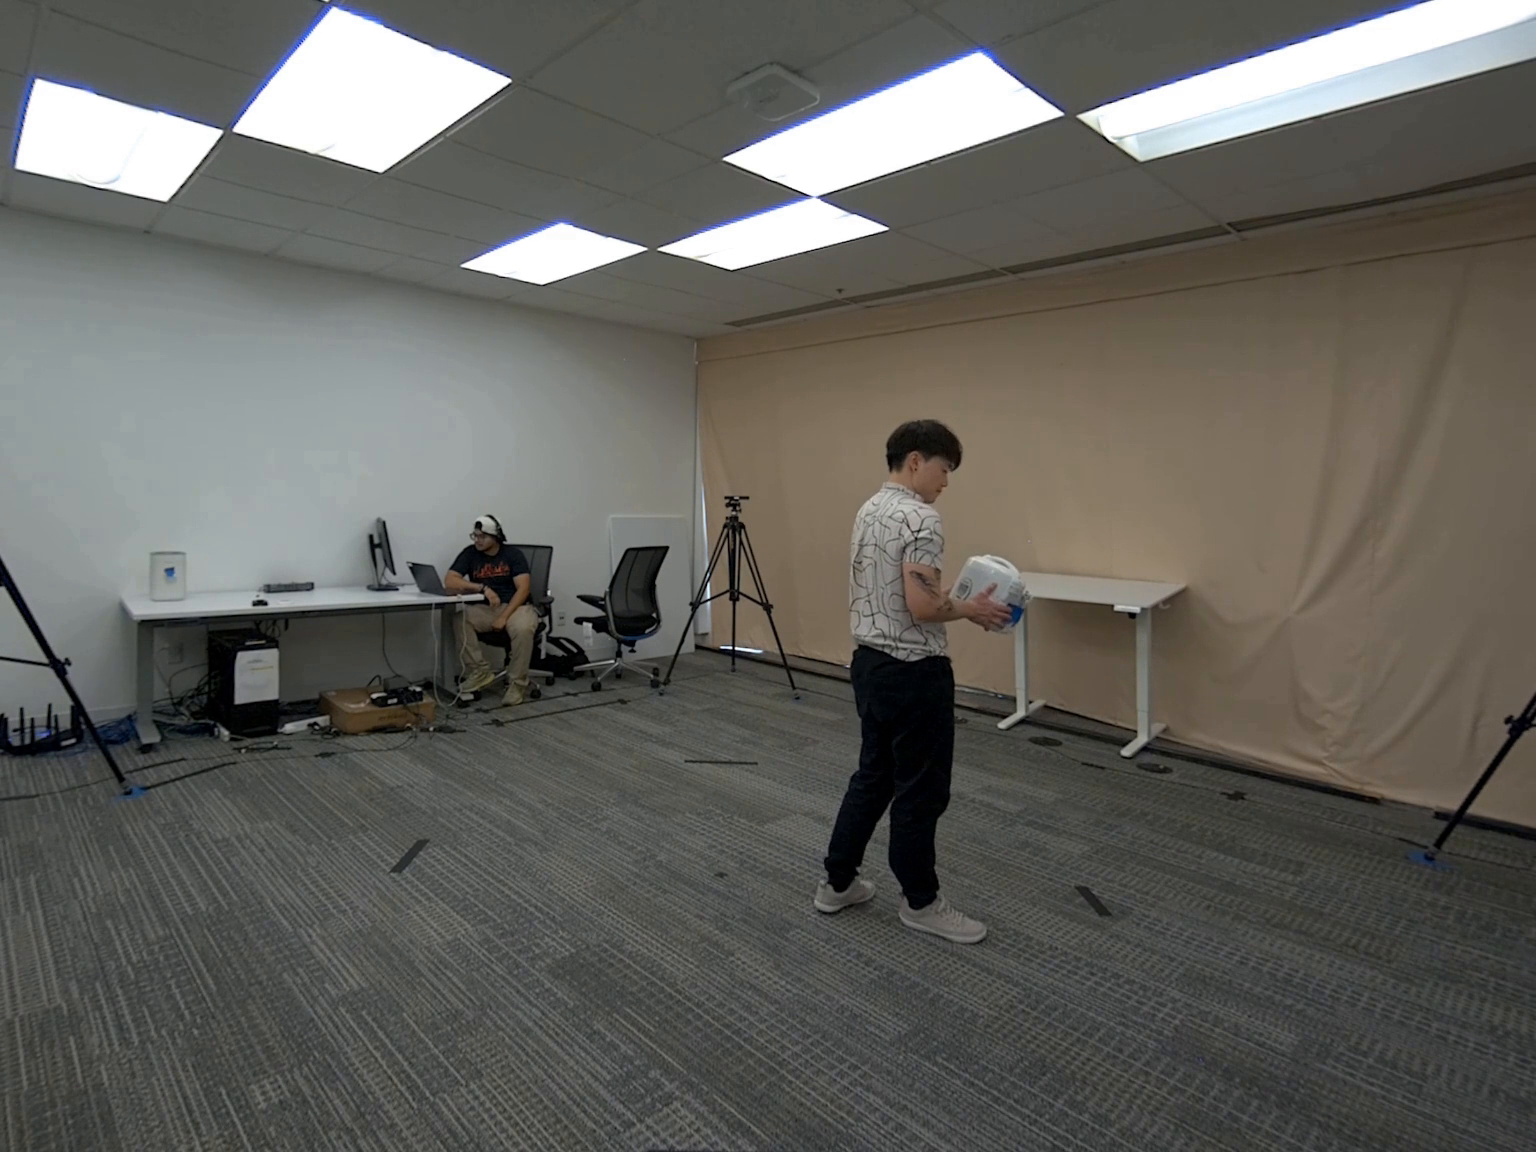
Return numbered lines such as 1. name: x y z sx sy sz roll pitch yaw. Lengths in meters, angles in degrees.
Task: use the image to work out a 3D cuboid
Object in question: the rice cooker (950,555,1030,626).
1. rice cooker: 0.715 0.044 2.824 0.211 0.232 0.227 22 6 -34
